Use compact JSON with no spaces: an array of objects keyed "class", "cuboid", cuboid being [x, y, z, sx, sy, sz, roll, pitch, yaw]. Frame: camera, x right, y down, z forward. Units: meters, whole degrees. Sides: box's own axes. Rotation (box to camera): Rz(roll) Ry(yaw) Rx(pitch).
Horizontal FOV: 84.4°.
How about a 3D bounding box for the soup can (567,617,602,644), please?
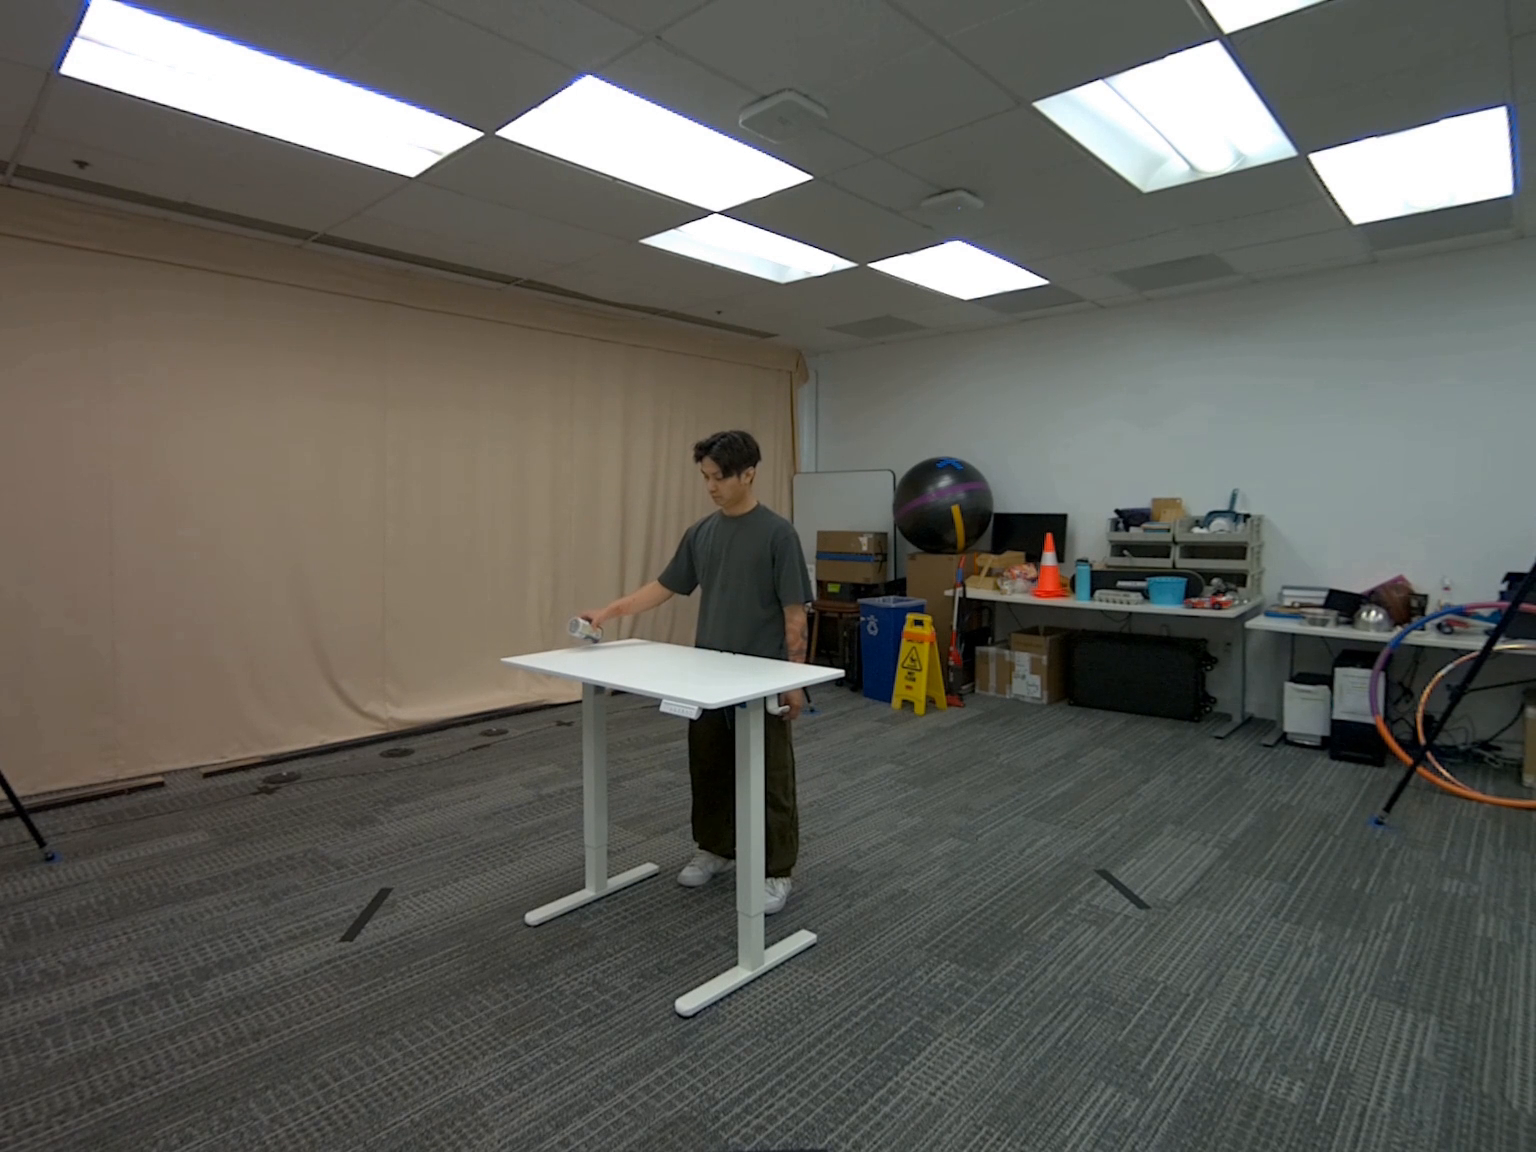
[{"class":"soup can","cuboid":[-0.656,0.203,3.044,0.069,0.067,0.117,3,-17,35]}]
